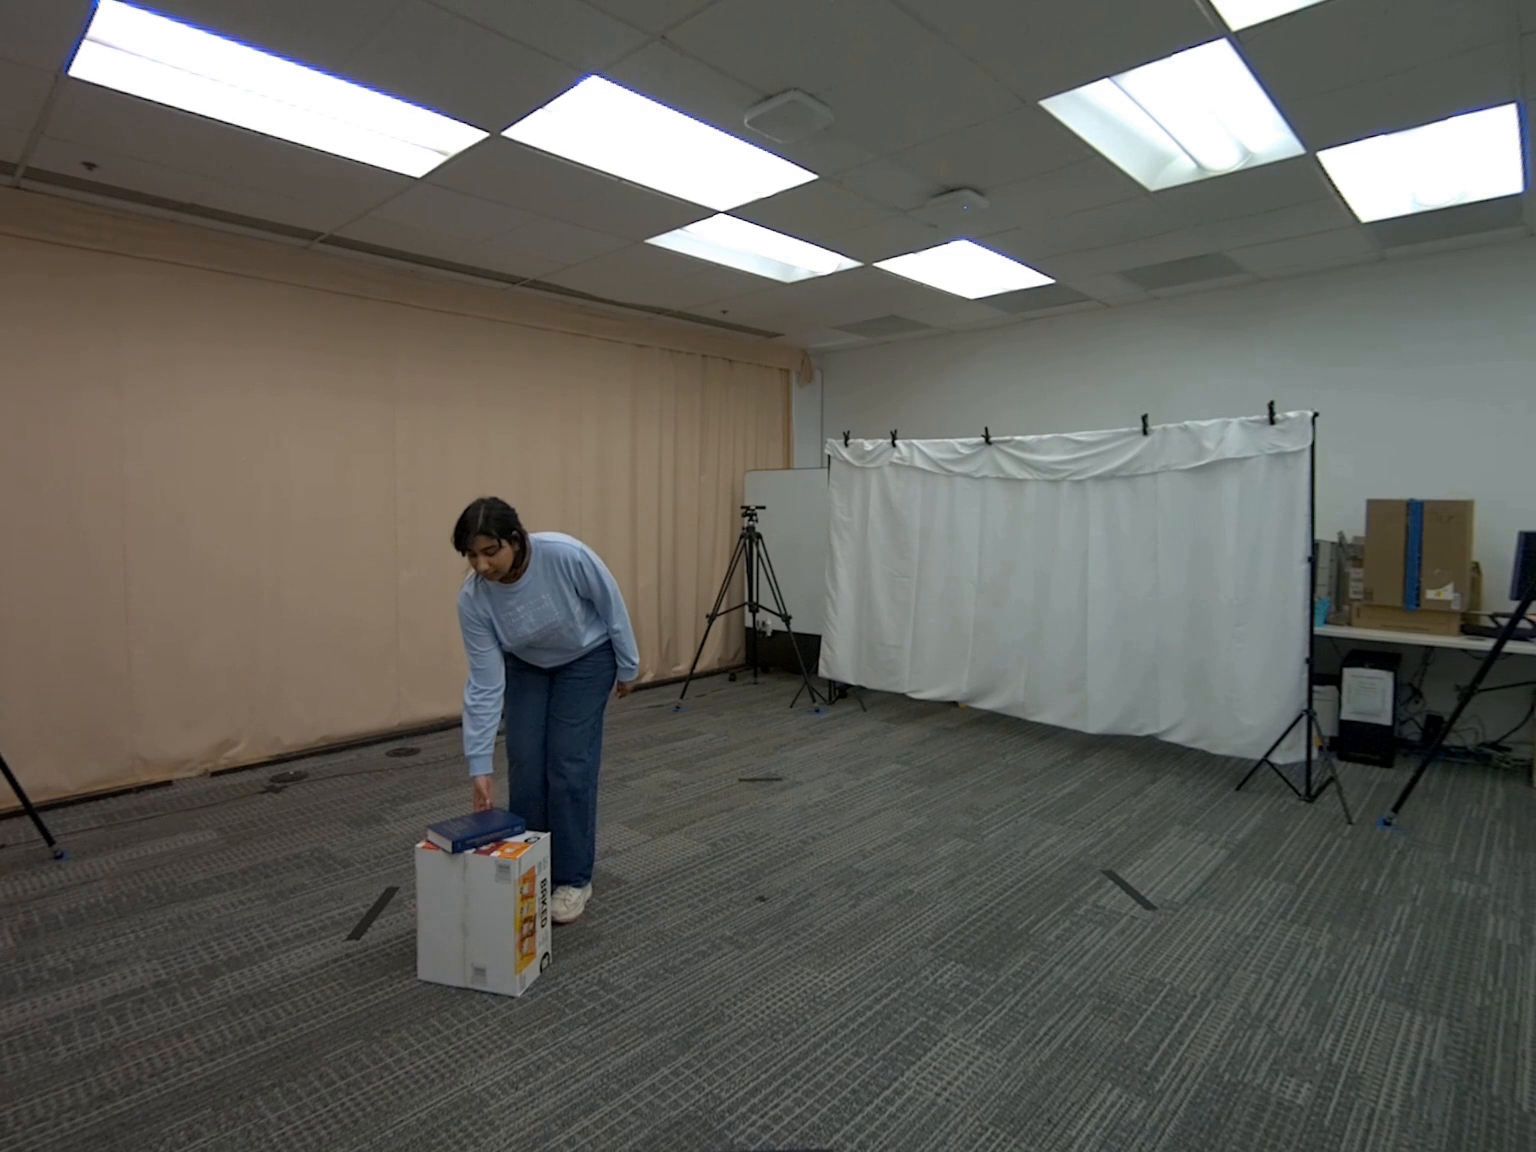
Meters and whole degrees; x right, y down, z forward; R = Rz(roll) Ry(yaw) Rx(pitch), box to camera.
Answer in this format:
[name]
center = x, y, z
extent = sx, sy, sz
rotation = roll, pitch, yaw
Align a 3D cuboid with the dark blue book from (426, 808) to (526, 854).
[dark blue book]
center = -0.867, 0.755, 2.536
extent = 0.169, 0.045, 0.237
rotation = 3, 5, 42
